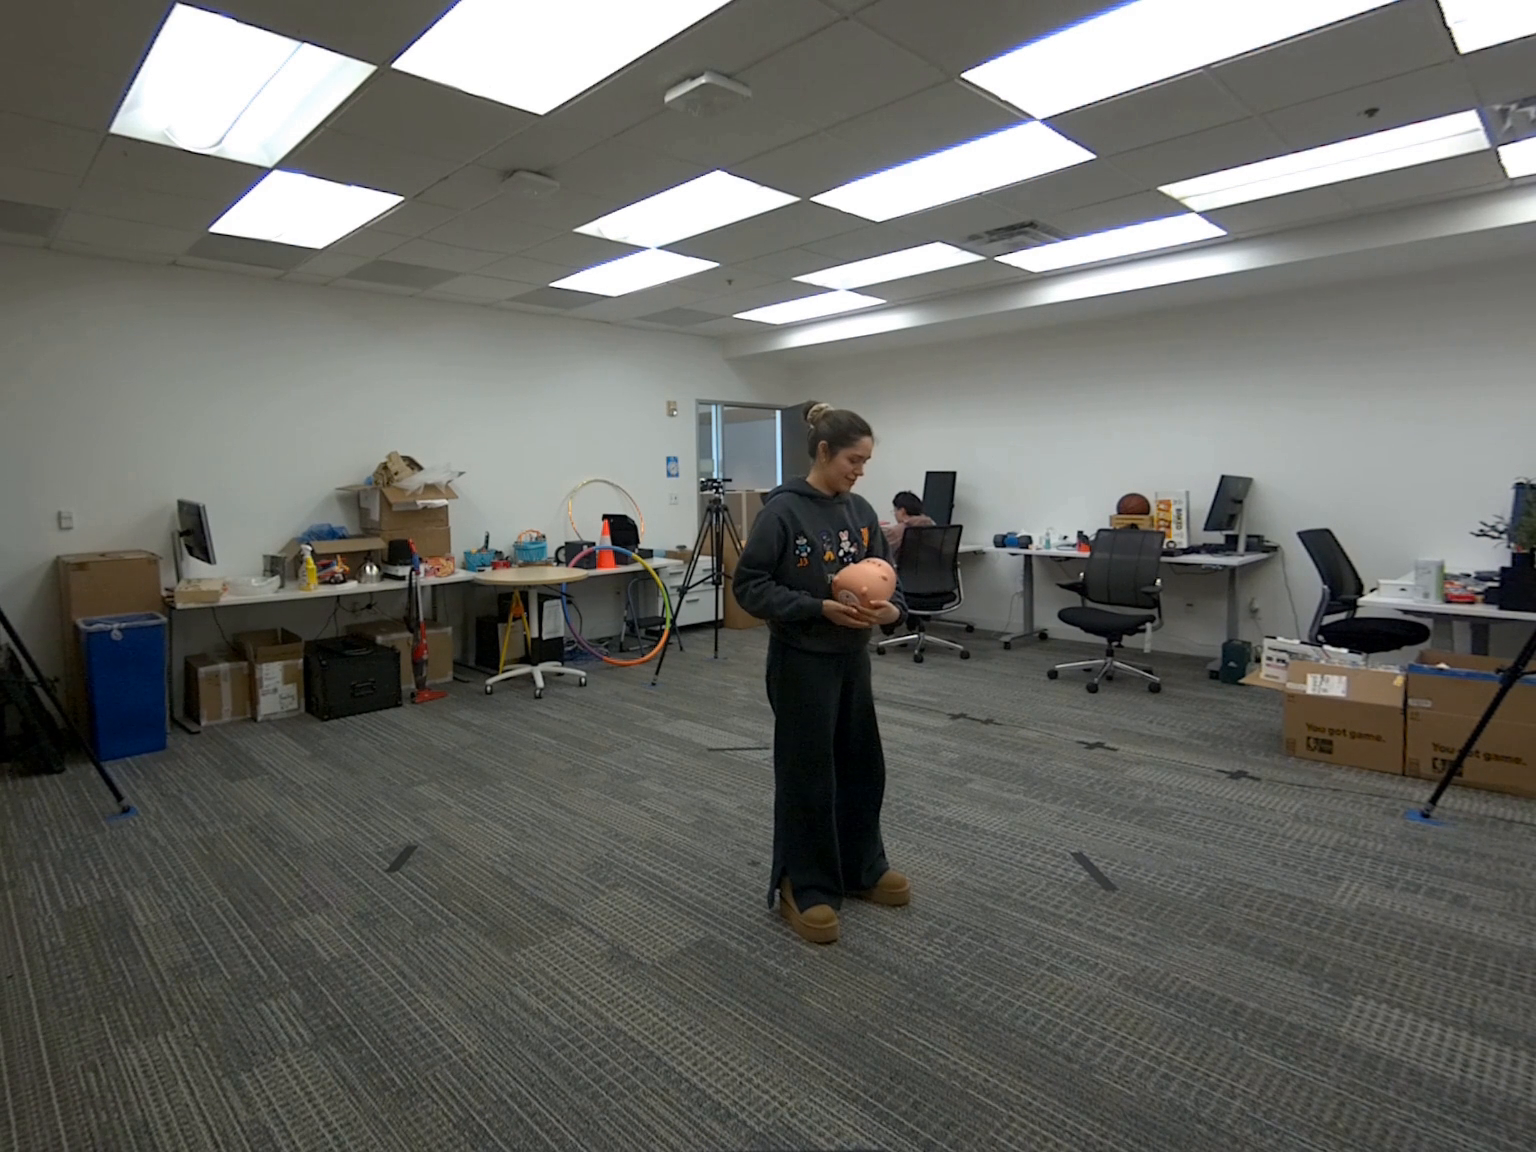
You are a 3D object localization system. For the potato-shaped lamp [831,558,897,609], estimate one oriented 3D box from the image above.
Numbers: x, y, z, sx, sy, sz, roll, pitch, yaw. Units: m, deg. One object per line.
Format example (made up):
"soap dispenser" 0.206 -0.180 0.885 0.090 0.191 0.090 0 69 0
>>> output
"potato-shaped lamp" 0.294 0.031 2.558 0.170 0.166 0.197 17 44 32
